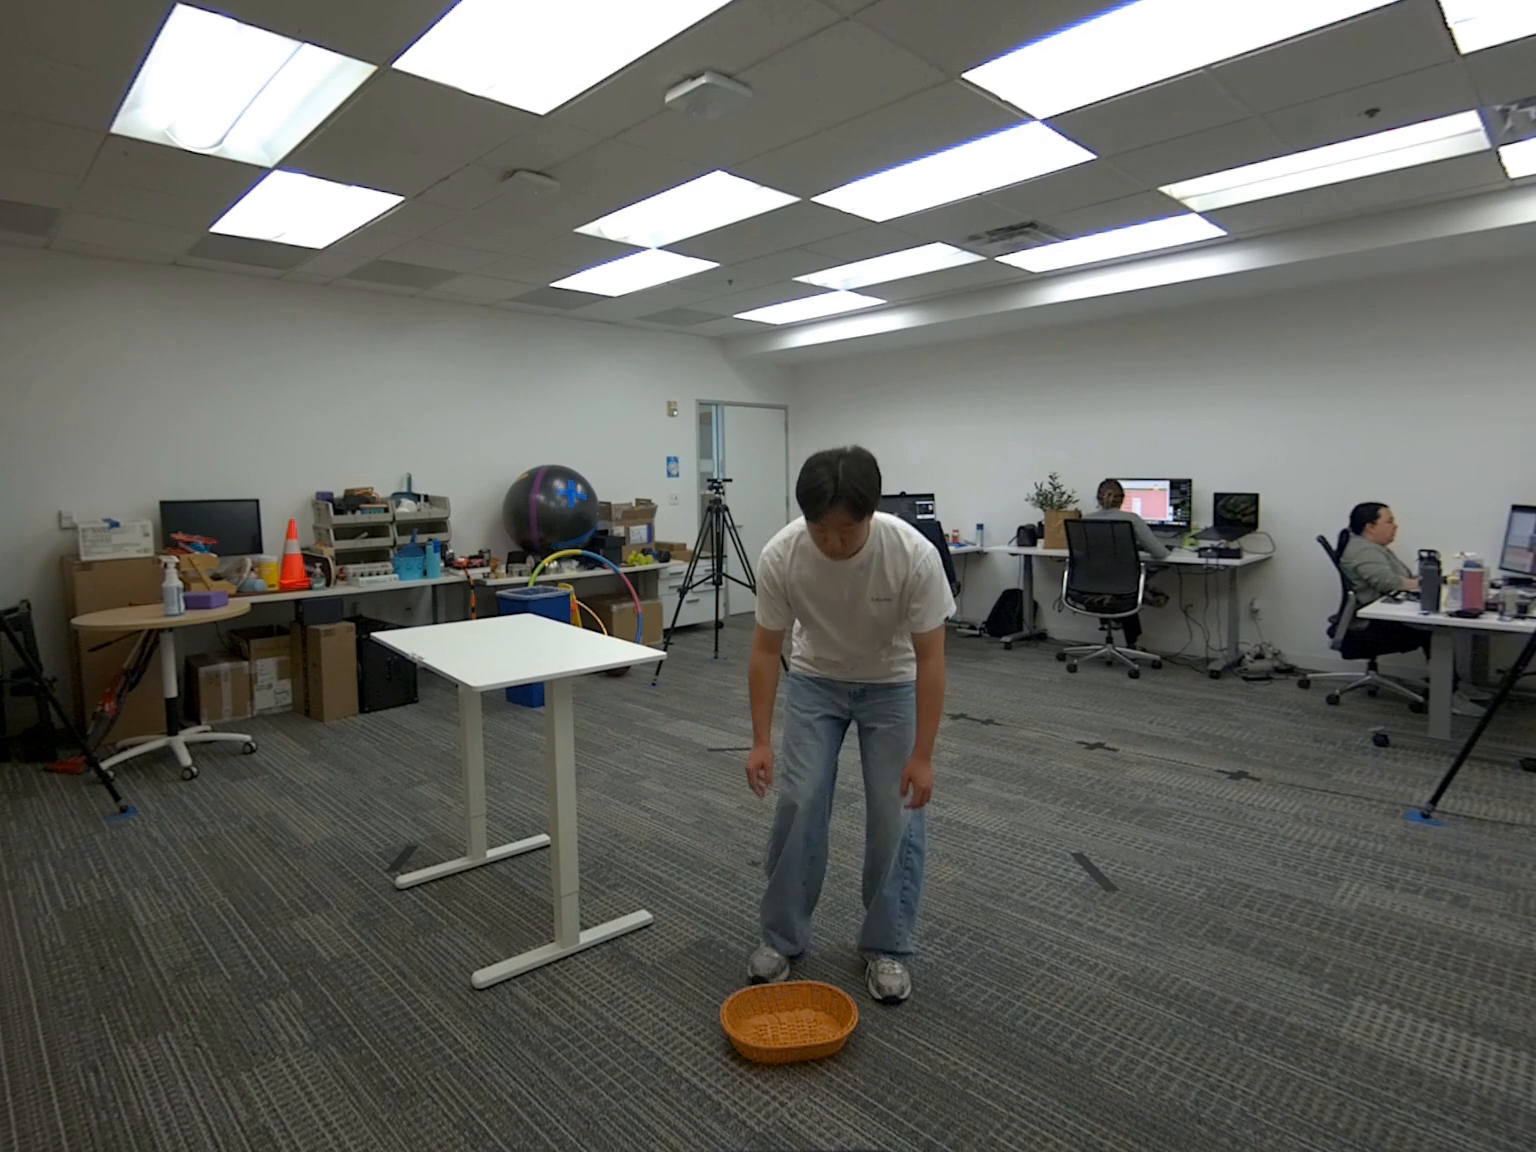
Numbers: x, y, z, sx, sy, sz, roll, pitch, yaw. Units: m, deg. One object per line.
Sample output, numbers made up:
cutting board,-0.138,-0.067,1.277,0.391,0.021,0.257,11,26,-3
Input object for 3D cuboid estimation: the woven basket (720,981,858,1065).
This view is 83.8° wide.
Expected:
woven basket,0.060,1.120,2.137,0.348,0.073,0.255,-2,7,-6
